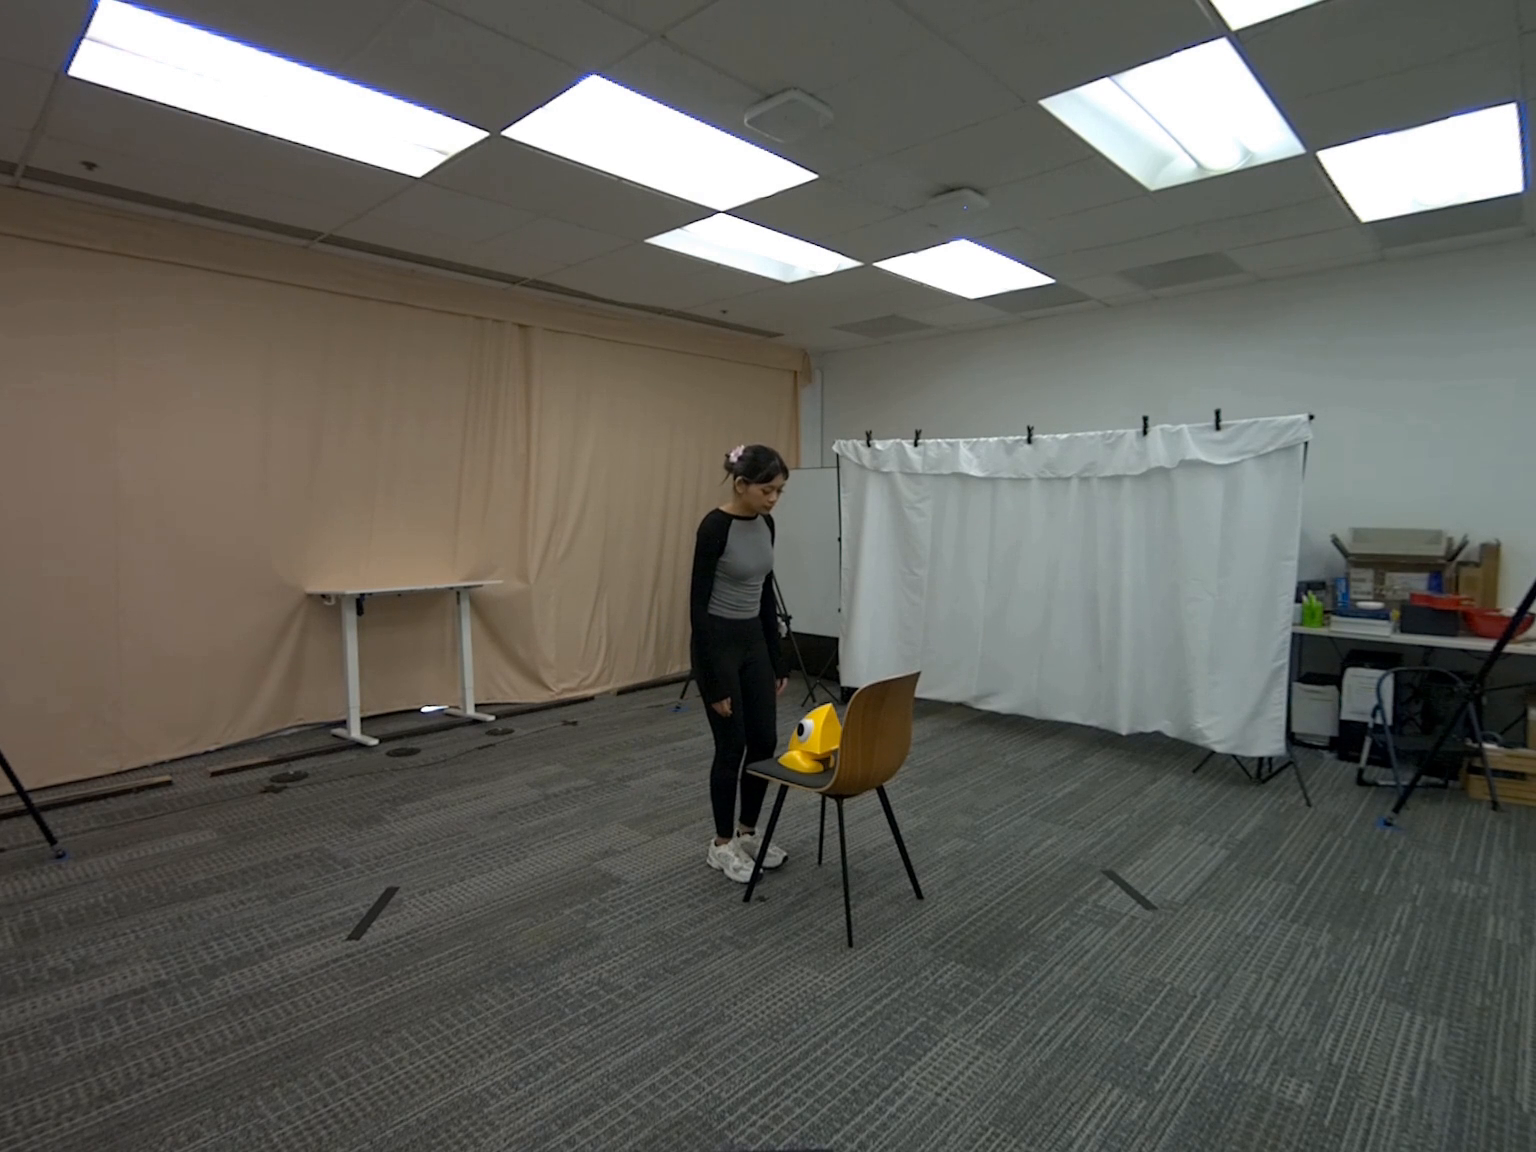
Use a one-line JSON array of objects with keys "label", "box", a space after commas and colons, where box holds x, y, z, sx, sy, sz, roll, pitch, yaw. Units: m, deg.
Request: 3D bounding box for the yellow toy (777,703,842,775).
[{"label": "yellow toy", "box": [0.163, 0.551, 2.954, 0.199, 0.230, 0.199, 8, 6, 35]}]
